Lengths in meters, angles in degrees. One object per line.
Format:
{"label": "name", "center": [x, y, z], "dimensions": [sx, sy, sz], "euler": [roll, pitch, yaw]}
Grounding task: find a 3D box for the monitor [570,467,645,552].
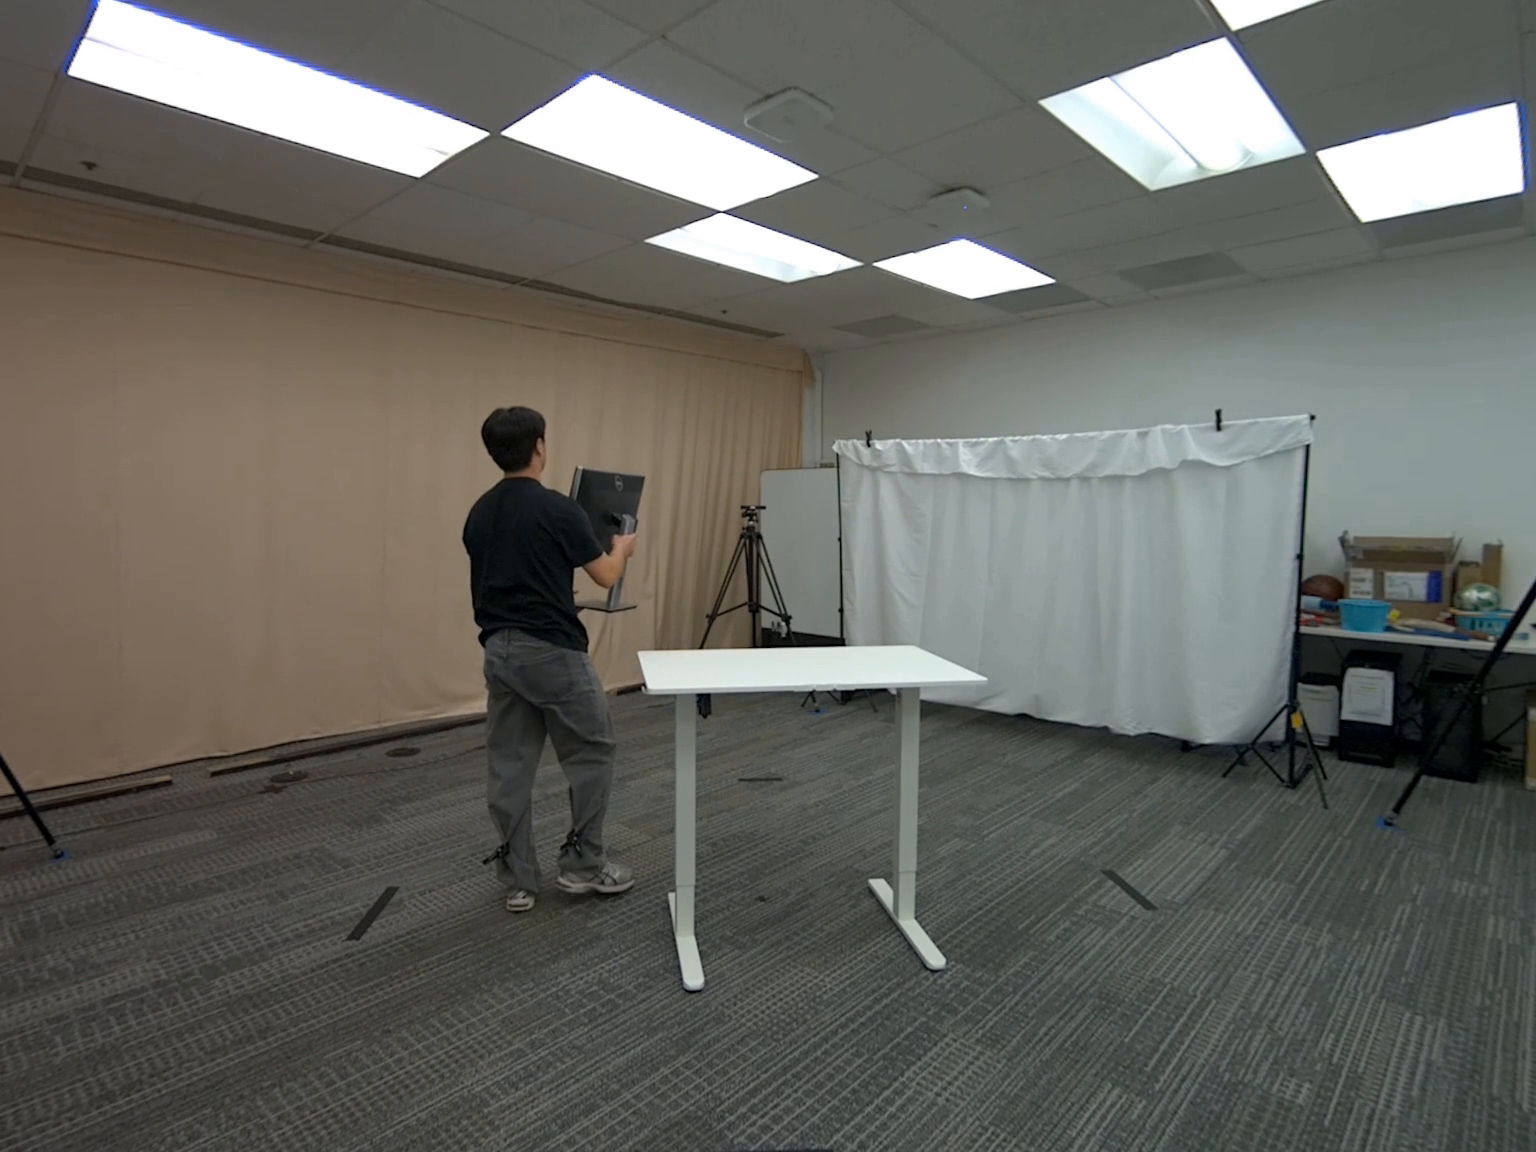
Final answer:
{"label": "monitor", "center": [-0.625, -0.130, 3.315], "dimensions": [0.227, 0.565, 0.550], "euler": [3, 2, 19]}
